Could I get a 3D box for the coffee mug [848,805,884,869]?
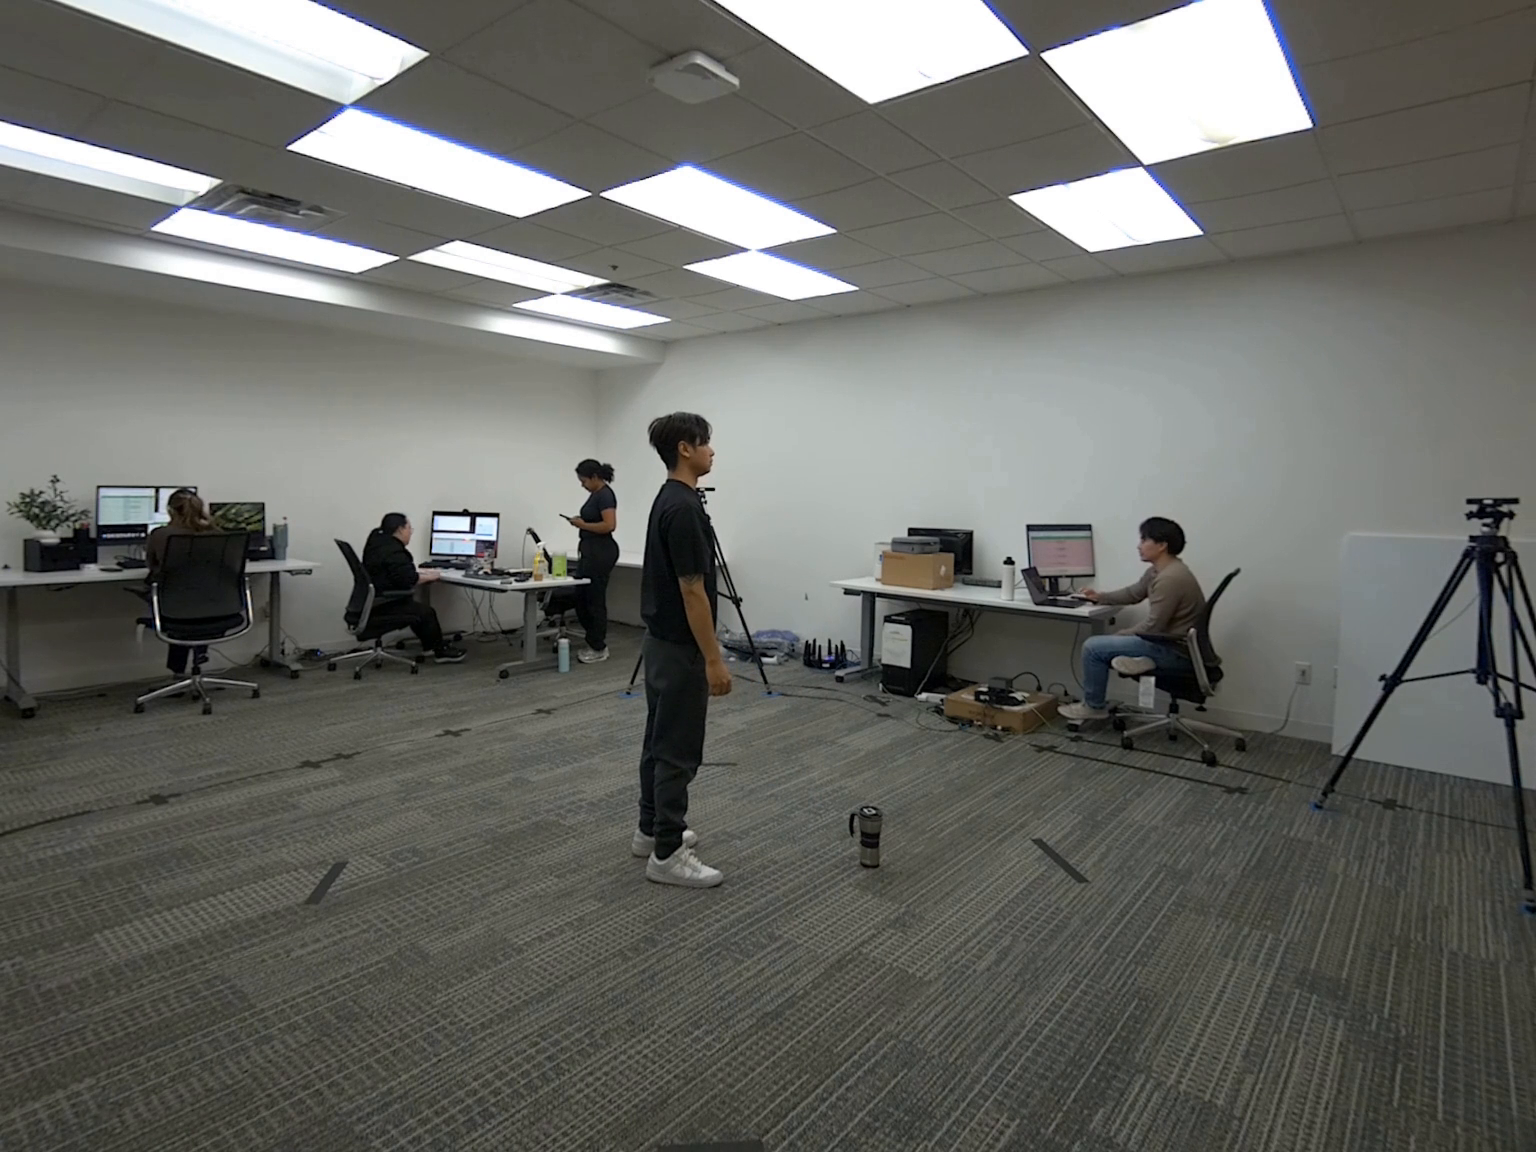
[{"bbox_3d":[0.361,0.976,3.189,0.126,0.201,0.085,8,10,36],"label":"coffee mug"}]
